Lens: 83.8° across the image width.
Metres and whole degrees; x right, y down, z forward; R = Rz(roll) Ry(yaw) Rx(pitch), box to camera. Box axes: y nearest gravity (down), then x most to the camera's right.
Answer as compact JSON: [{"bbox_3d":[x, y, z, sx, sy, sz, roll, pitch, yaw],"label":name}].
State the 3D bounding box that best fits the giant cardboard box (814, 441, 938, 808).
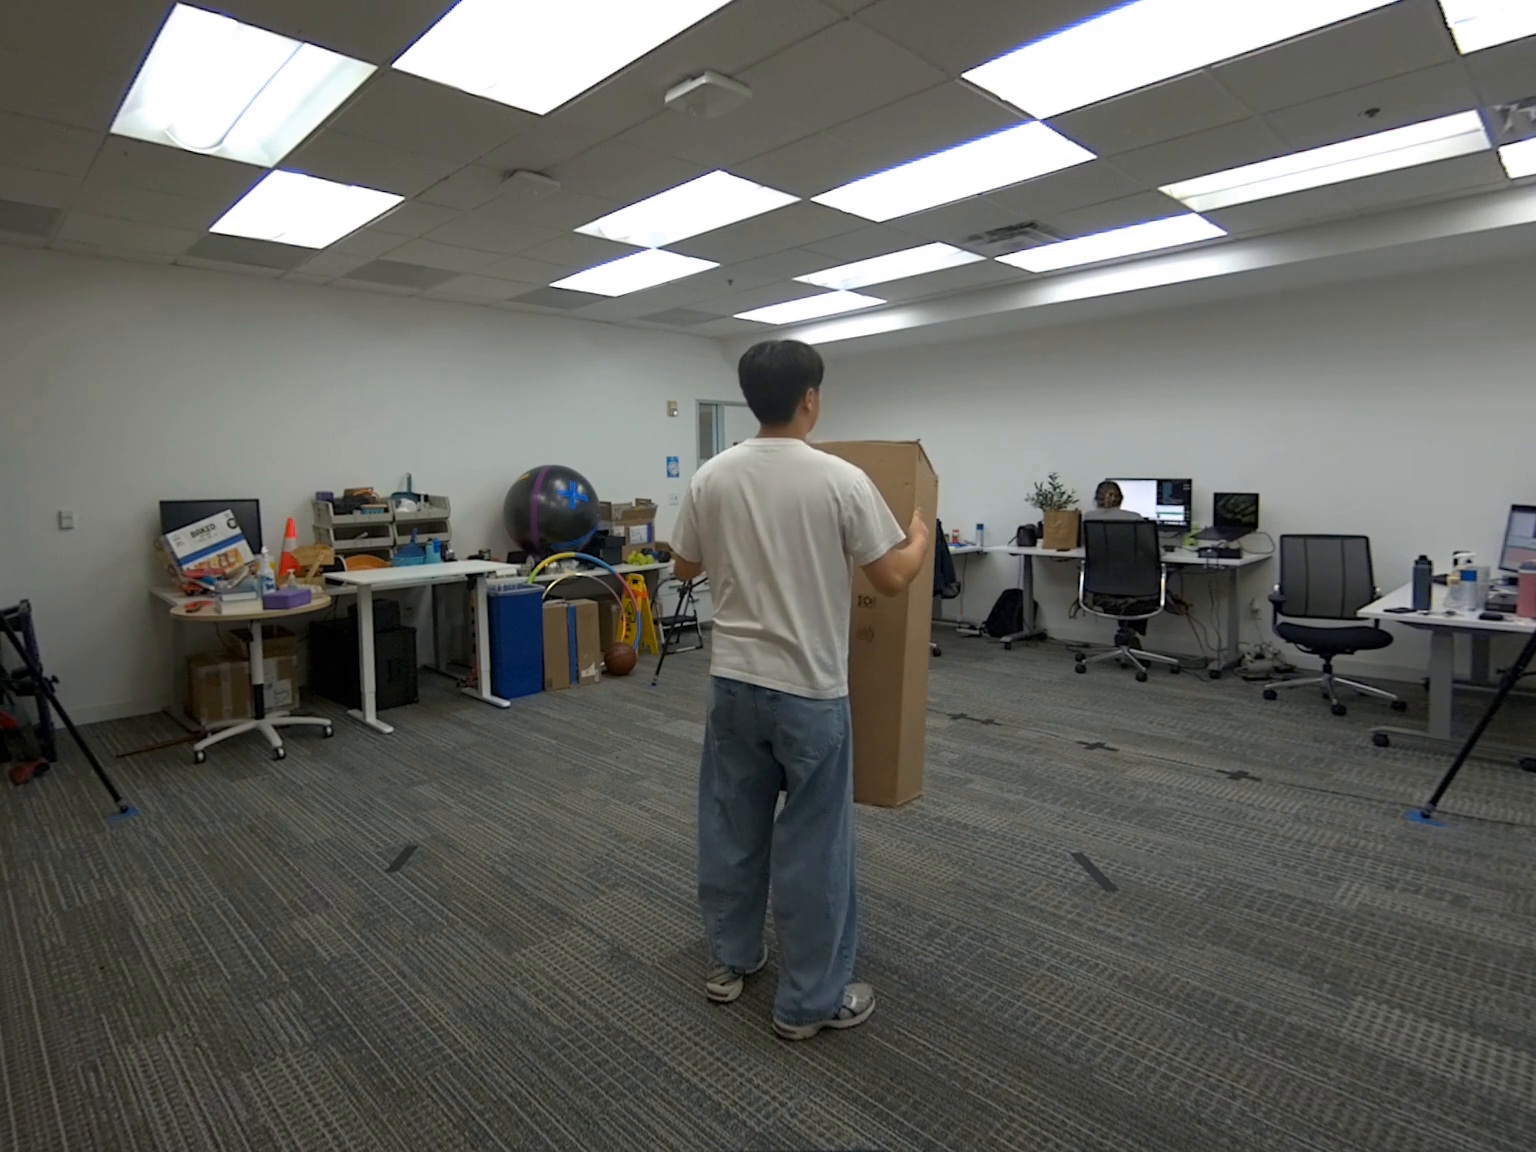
[{"bbox_3d":[0.201,0.136,2.649,0.589,1.034,0.414,2,-10,20],"label":"giant cardboard box"}]
